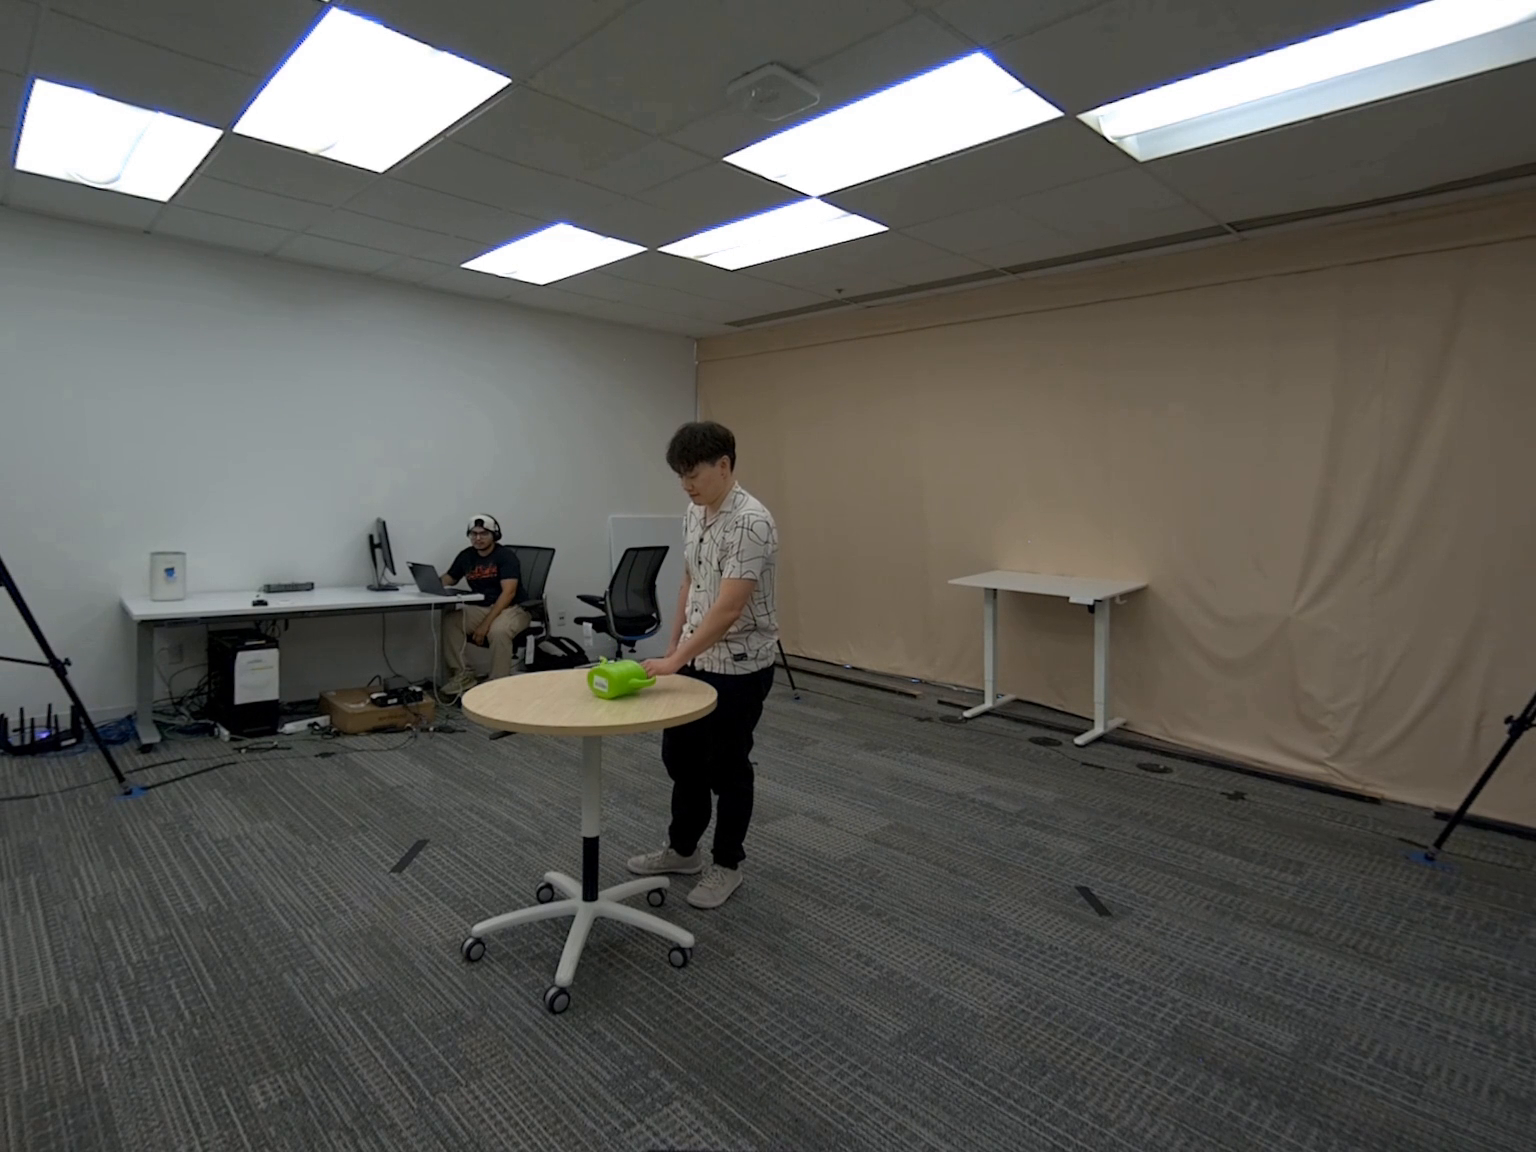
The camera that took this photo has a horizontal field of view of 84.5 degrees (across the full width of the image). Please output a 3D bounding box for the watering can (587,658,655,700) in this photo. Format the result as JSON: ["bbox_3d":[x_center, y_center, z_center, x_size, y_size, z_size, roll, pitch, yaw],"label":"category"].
[{"bbox_3d":[-0.487,0.314,2.588,0.284,0.098,0.173,-2,2,38],"label":"watering can"}]
